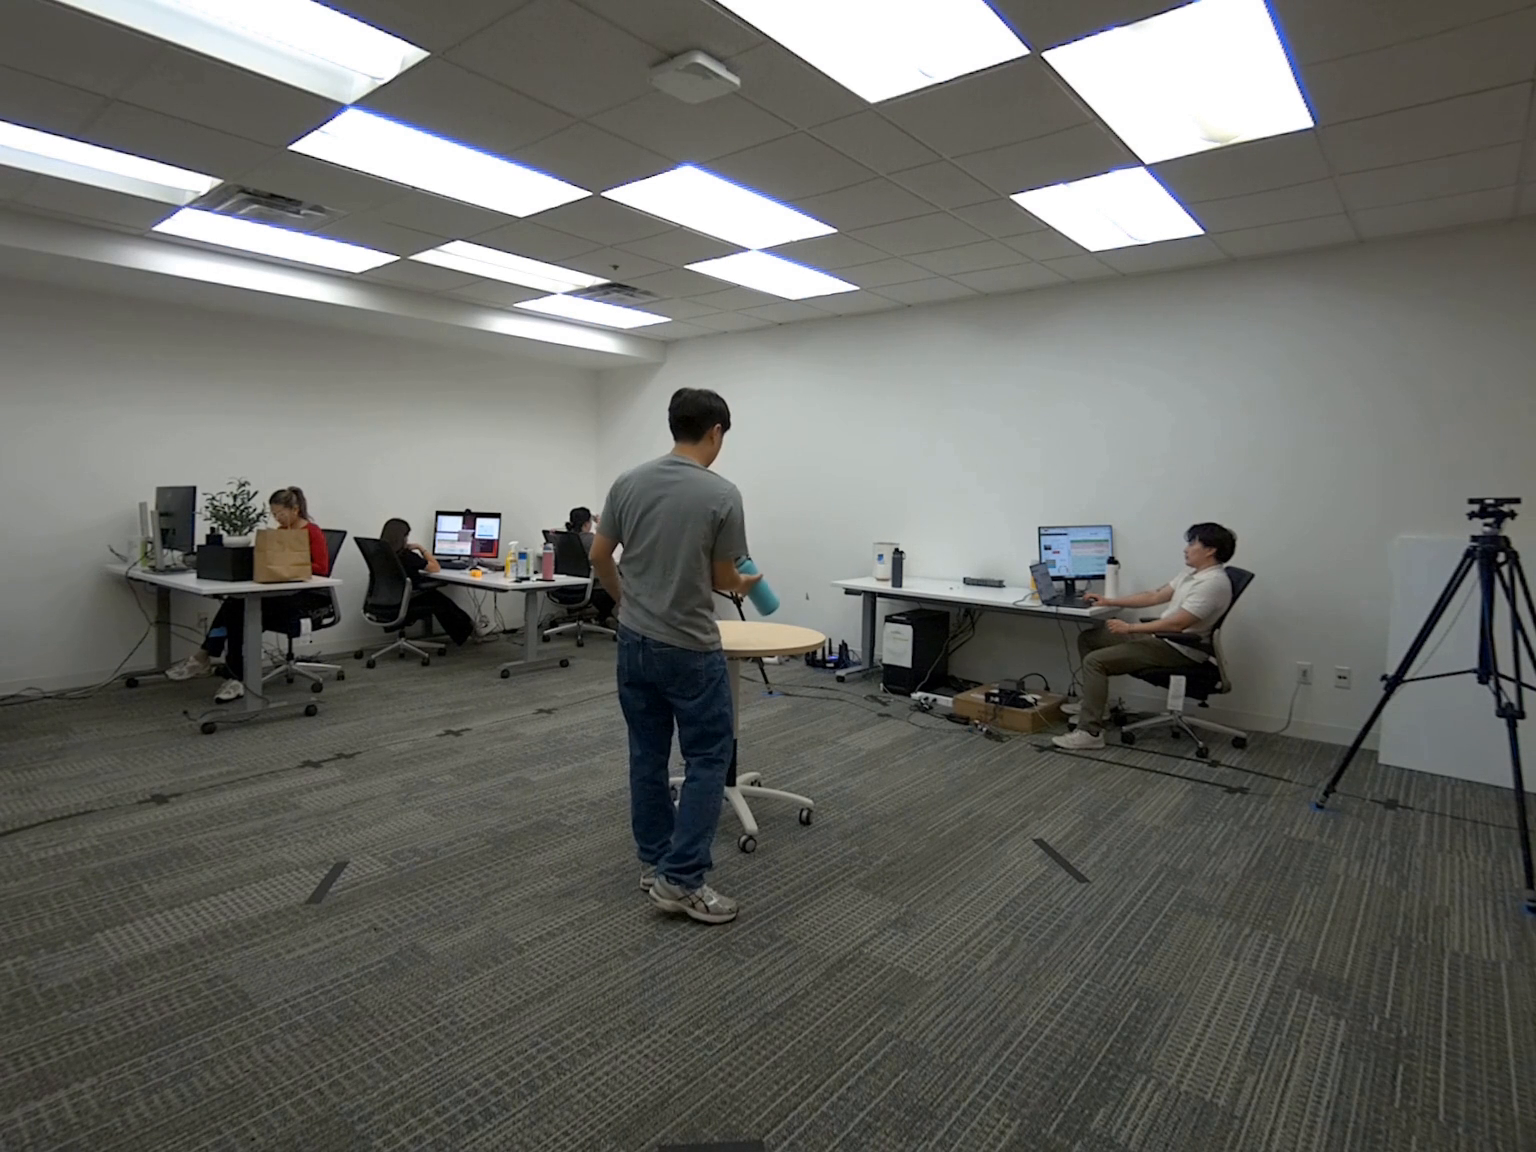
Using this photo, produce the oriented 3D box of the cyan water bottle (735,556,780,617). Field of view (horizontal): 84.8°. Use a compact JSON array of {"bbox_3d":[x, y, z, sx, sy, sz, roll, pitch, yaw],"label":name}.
[{"bbox_3d":[-0.068,0.013,3.212,0.093,0.277,0.094,-29,16,8],"label":"cyan water bottle"}]
